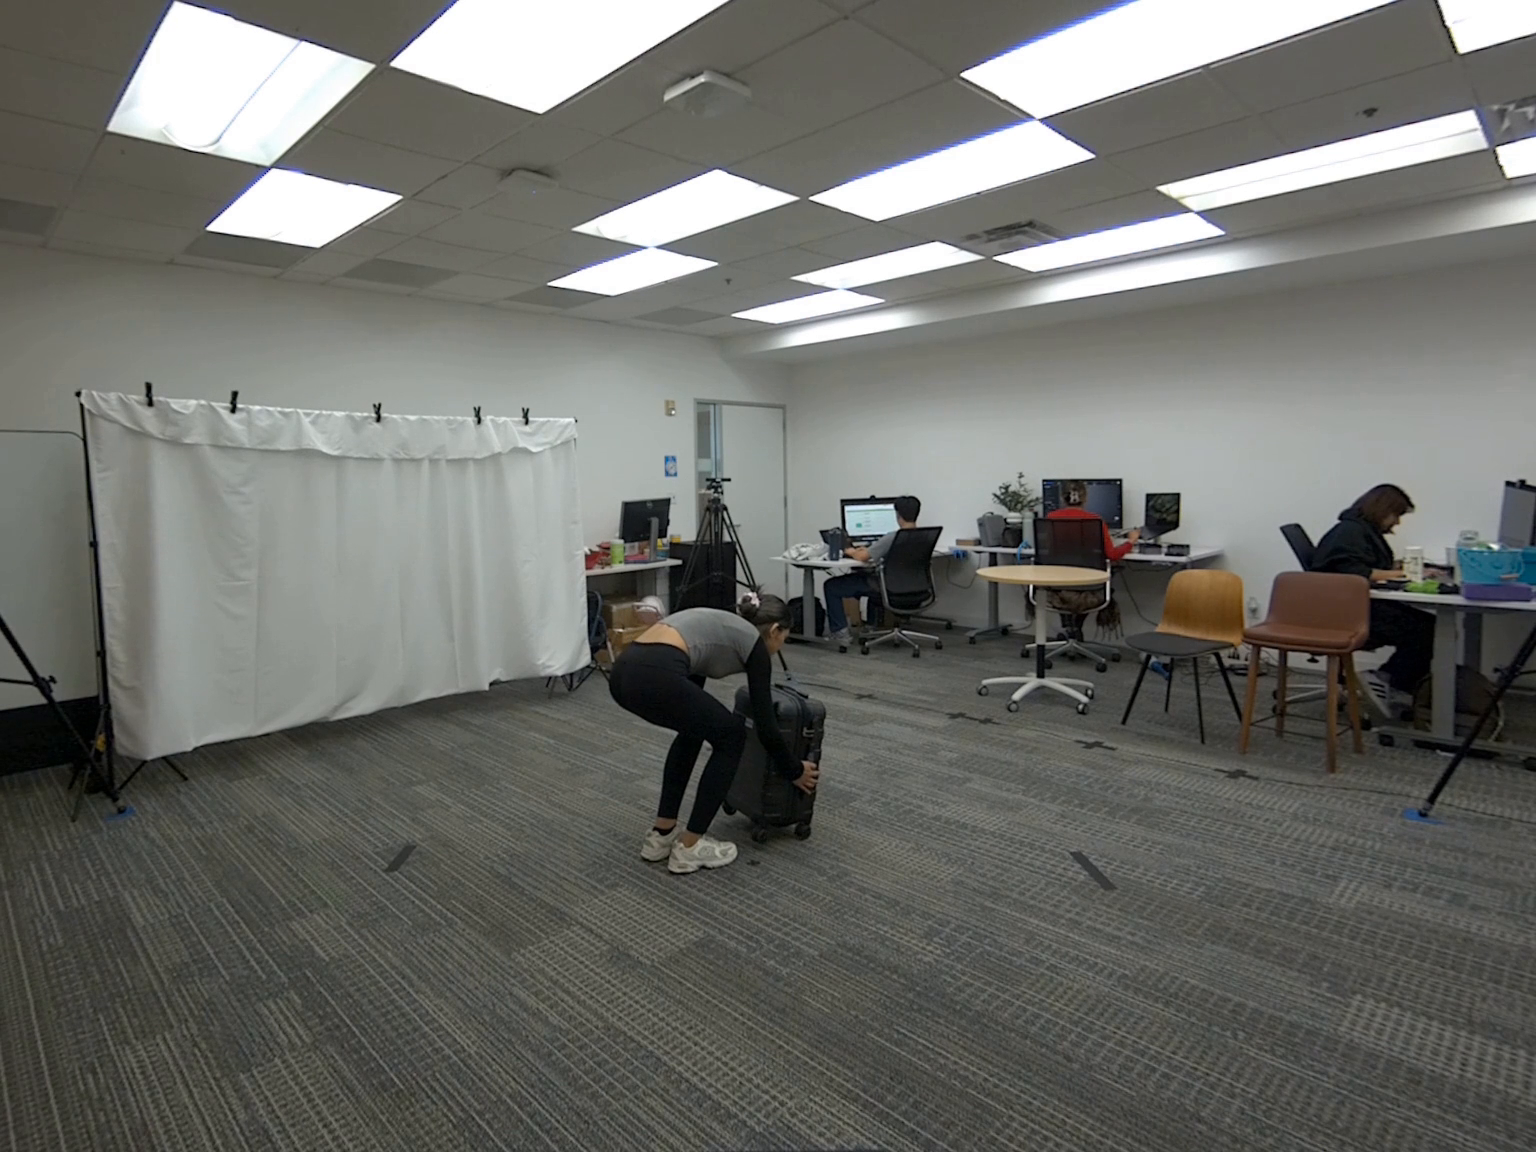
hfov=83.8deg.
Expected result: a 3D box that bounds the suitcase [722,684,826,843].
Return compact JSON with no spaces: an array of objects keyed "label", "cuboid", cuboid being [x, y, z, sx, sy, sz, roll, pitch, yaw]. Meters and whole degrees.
[{"label":"suitcase","cuboid":[0.019,0.711,3.396,0.241,0.549,0.386,7,1,-32]}]
